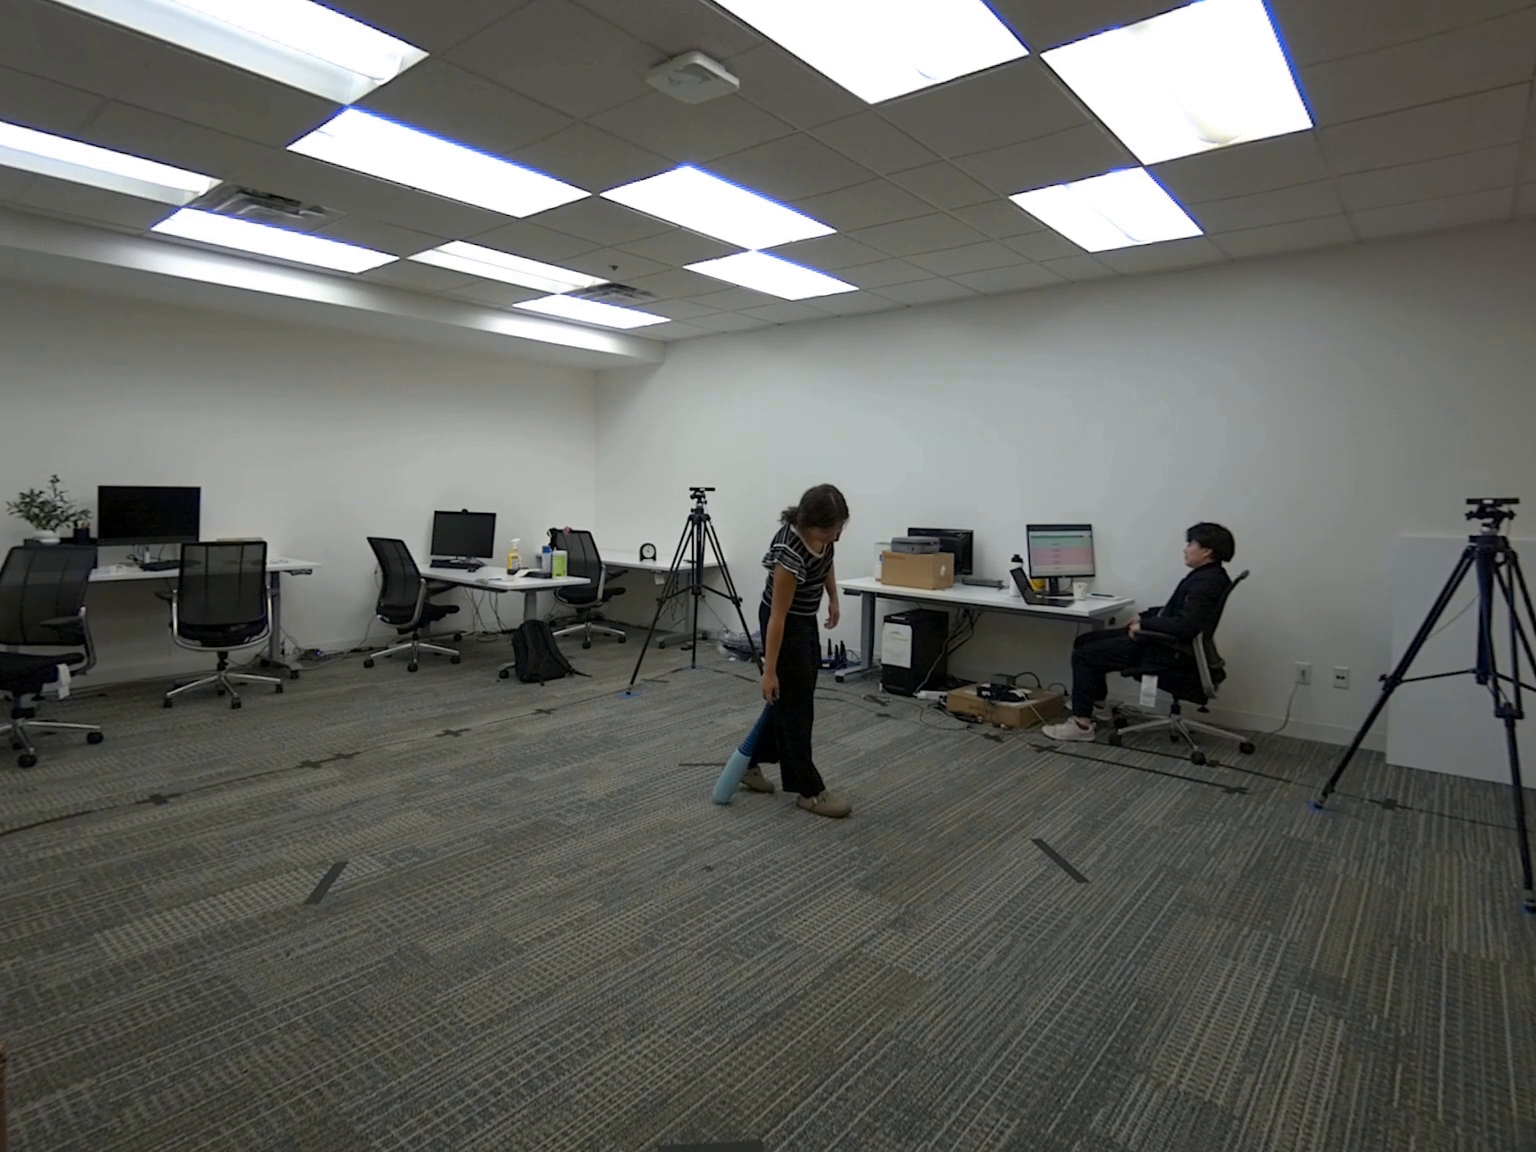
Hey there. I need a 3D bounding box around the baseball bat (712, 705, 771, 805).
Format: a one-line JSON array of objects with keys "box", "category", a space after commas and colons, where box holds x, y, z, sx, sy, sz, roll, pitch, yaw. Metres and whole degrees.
[{"box": [-0.104, 0.757, 3.736, 0.088, 0.541, 0.090, 25, 9, -6], "category": "baseball bat"}]
